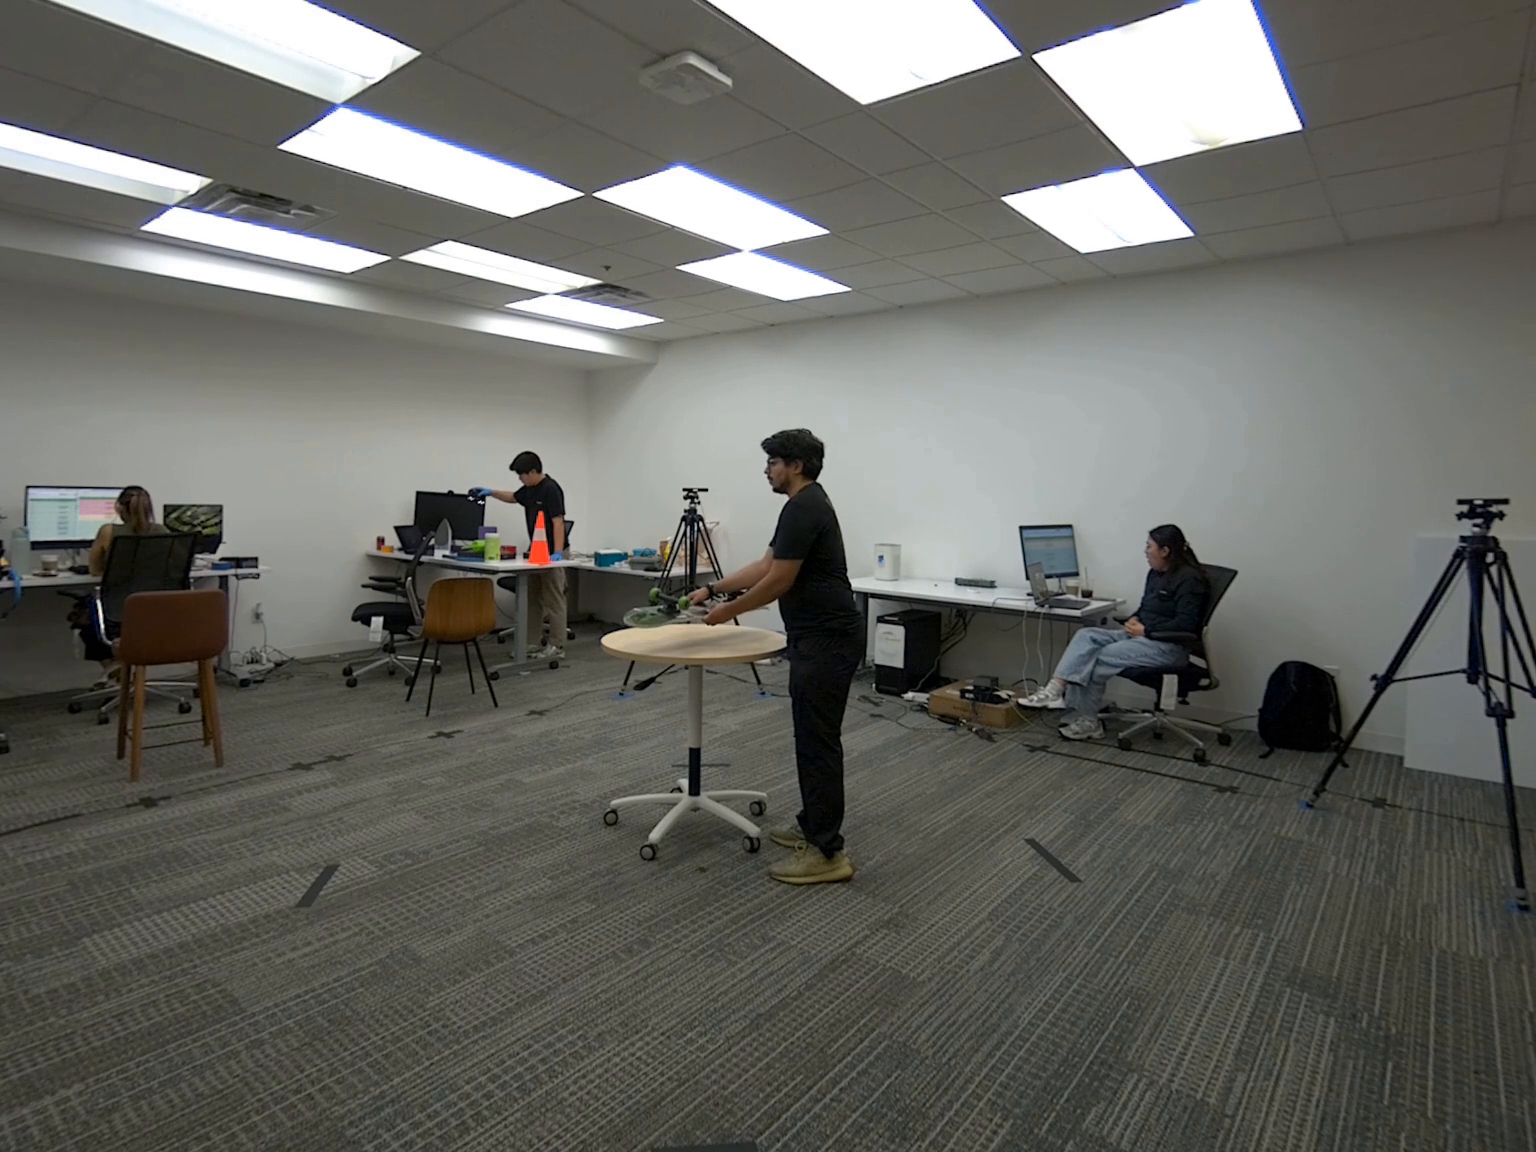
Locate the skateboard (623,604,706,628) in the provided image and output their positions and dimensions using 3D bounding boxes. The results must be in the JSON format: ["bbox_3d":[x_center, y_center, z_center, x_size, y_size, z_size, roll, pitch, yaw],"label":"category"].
[{"bbox_3d":[-0.275,0.104,3.387,0.200,0.109,0.763,13,12,36],"label":"skateboard"}]
